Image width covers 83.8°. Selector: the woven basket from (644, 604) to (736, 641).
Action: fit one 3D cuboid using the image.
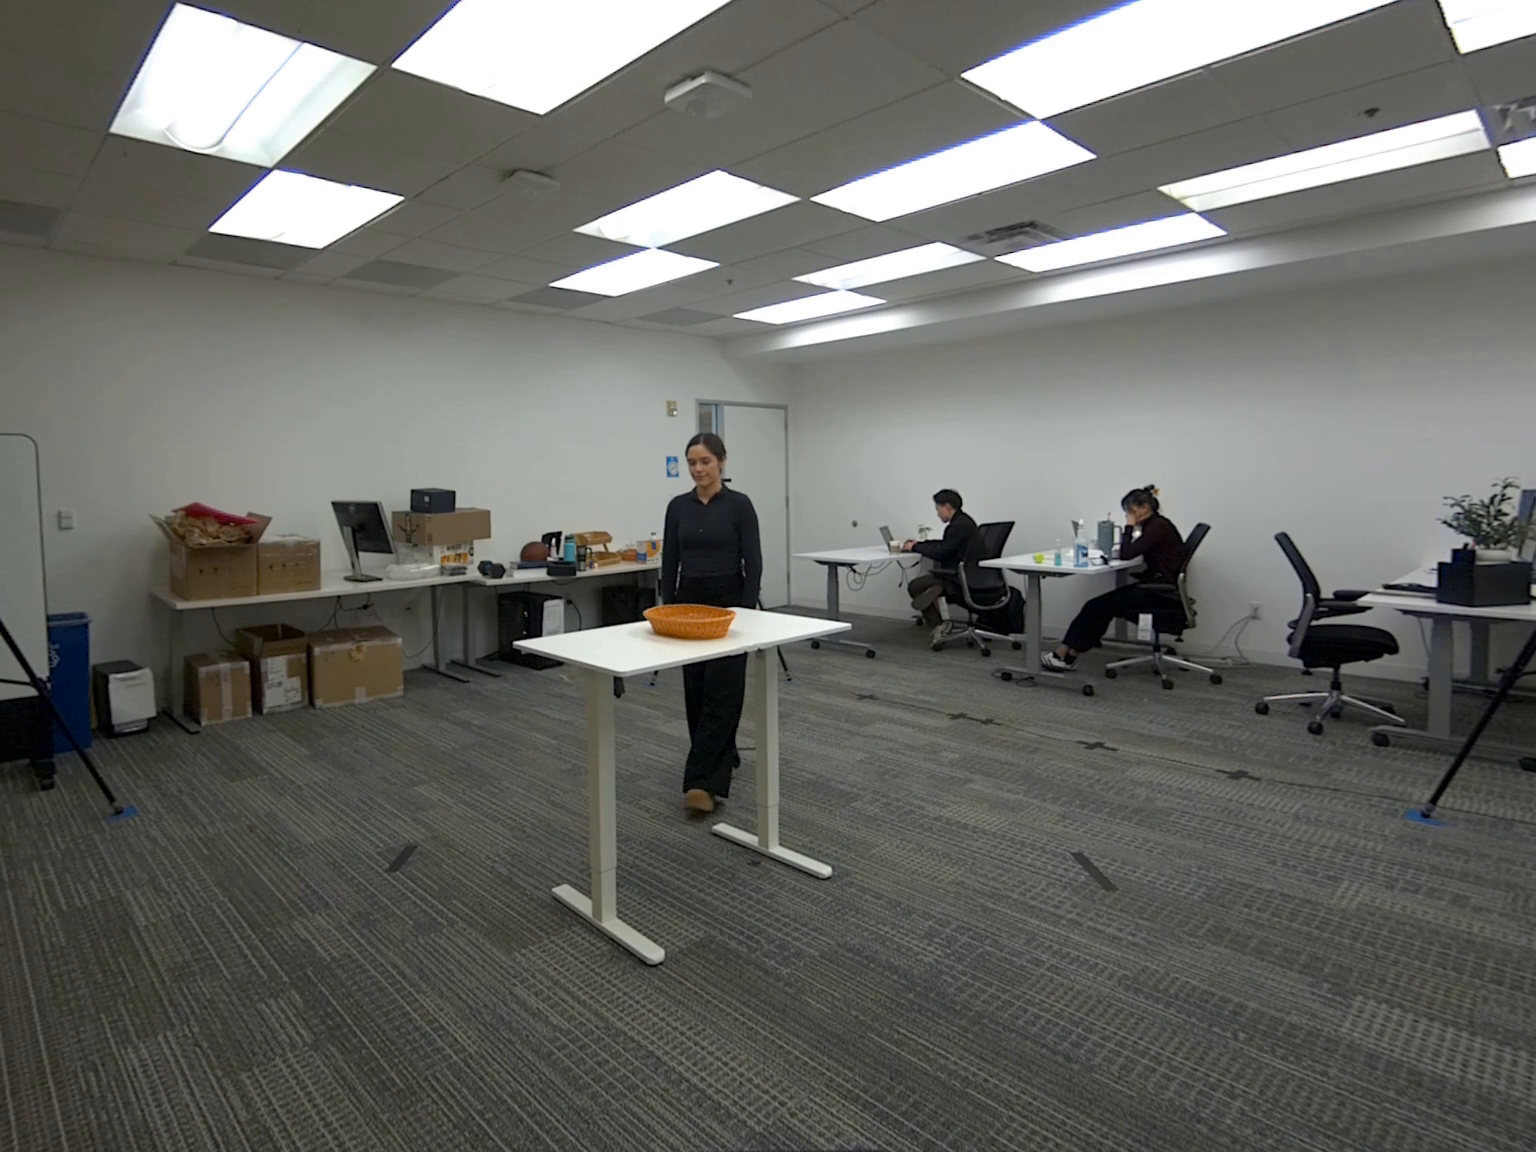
[{"bbox_3d":[-0.272,0.164,2.880,0.246,0.073,0.361,-7,10,-41],"label":"woven basket"}]
